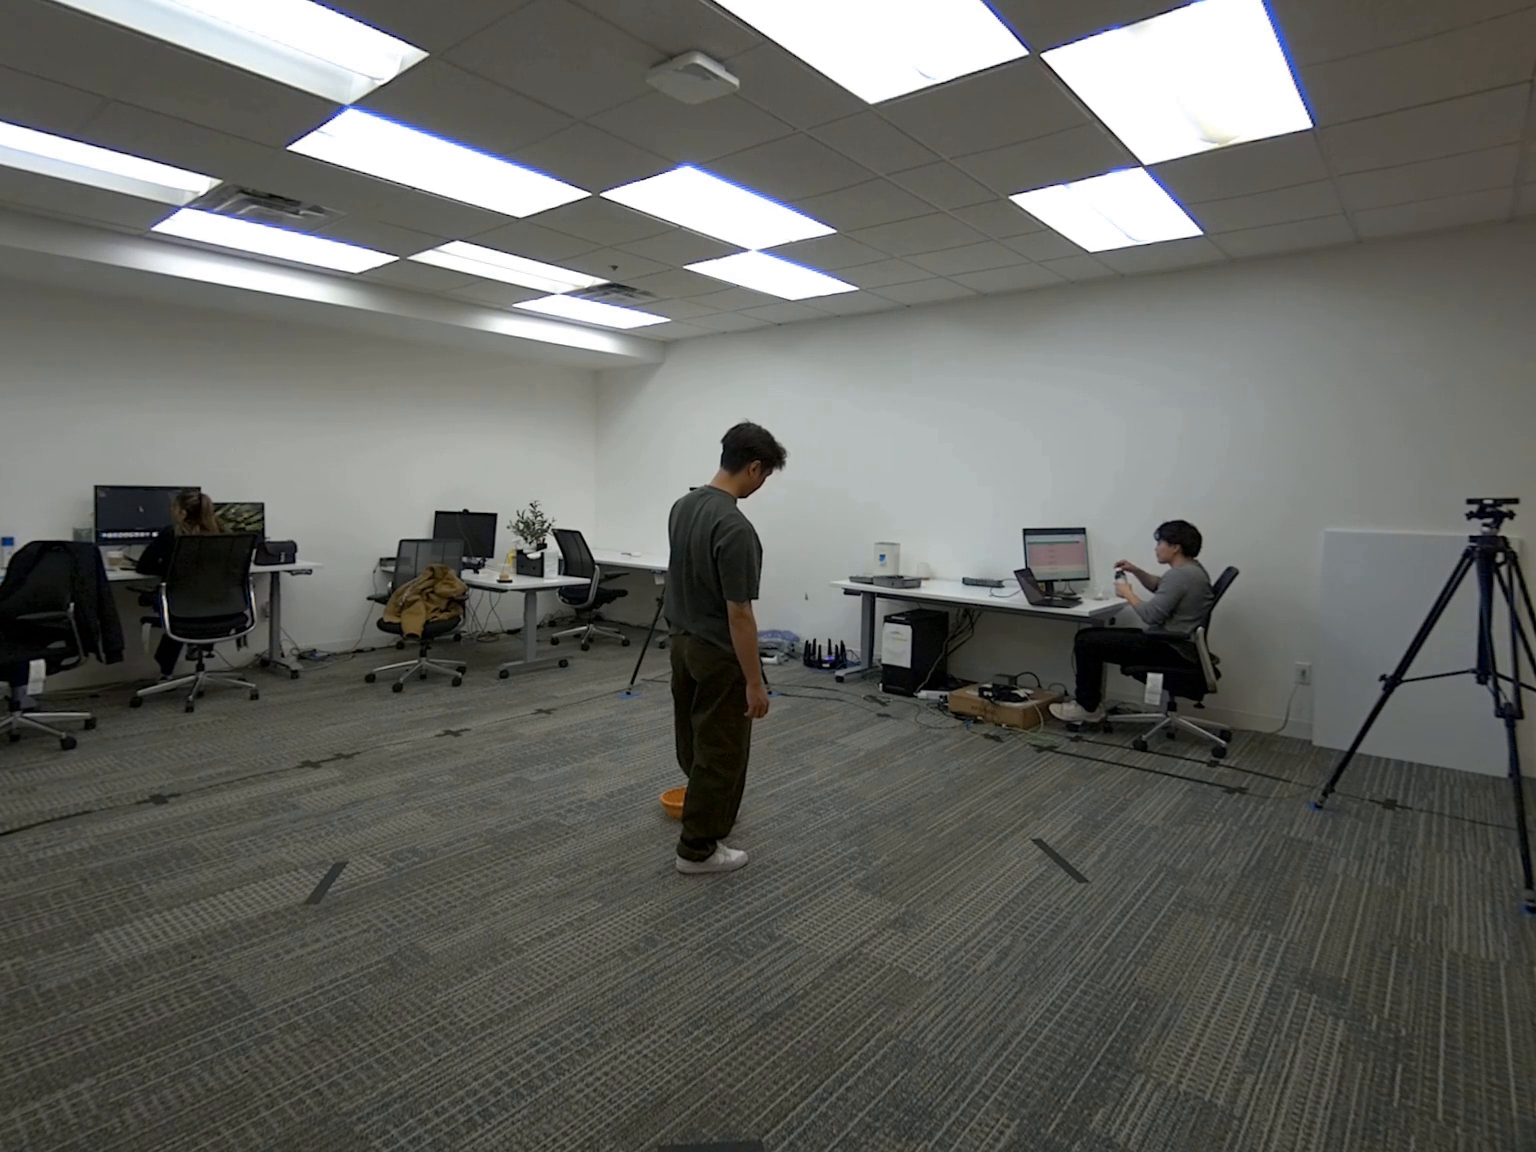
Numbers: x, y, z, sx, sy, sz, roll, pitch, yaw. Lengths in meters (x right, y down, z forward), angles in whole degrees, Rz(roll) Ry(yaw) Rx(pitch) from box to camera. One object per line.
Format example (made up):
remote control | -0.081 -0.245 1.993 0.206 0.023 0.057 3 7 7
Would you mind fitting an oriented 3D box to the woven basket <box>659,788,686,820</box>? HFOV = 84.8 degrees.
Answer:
woven basket | -0.307 0.966 3.657 0.342 0.073 0.259 -3 4 -26
